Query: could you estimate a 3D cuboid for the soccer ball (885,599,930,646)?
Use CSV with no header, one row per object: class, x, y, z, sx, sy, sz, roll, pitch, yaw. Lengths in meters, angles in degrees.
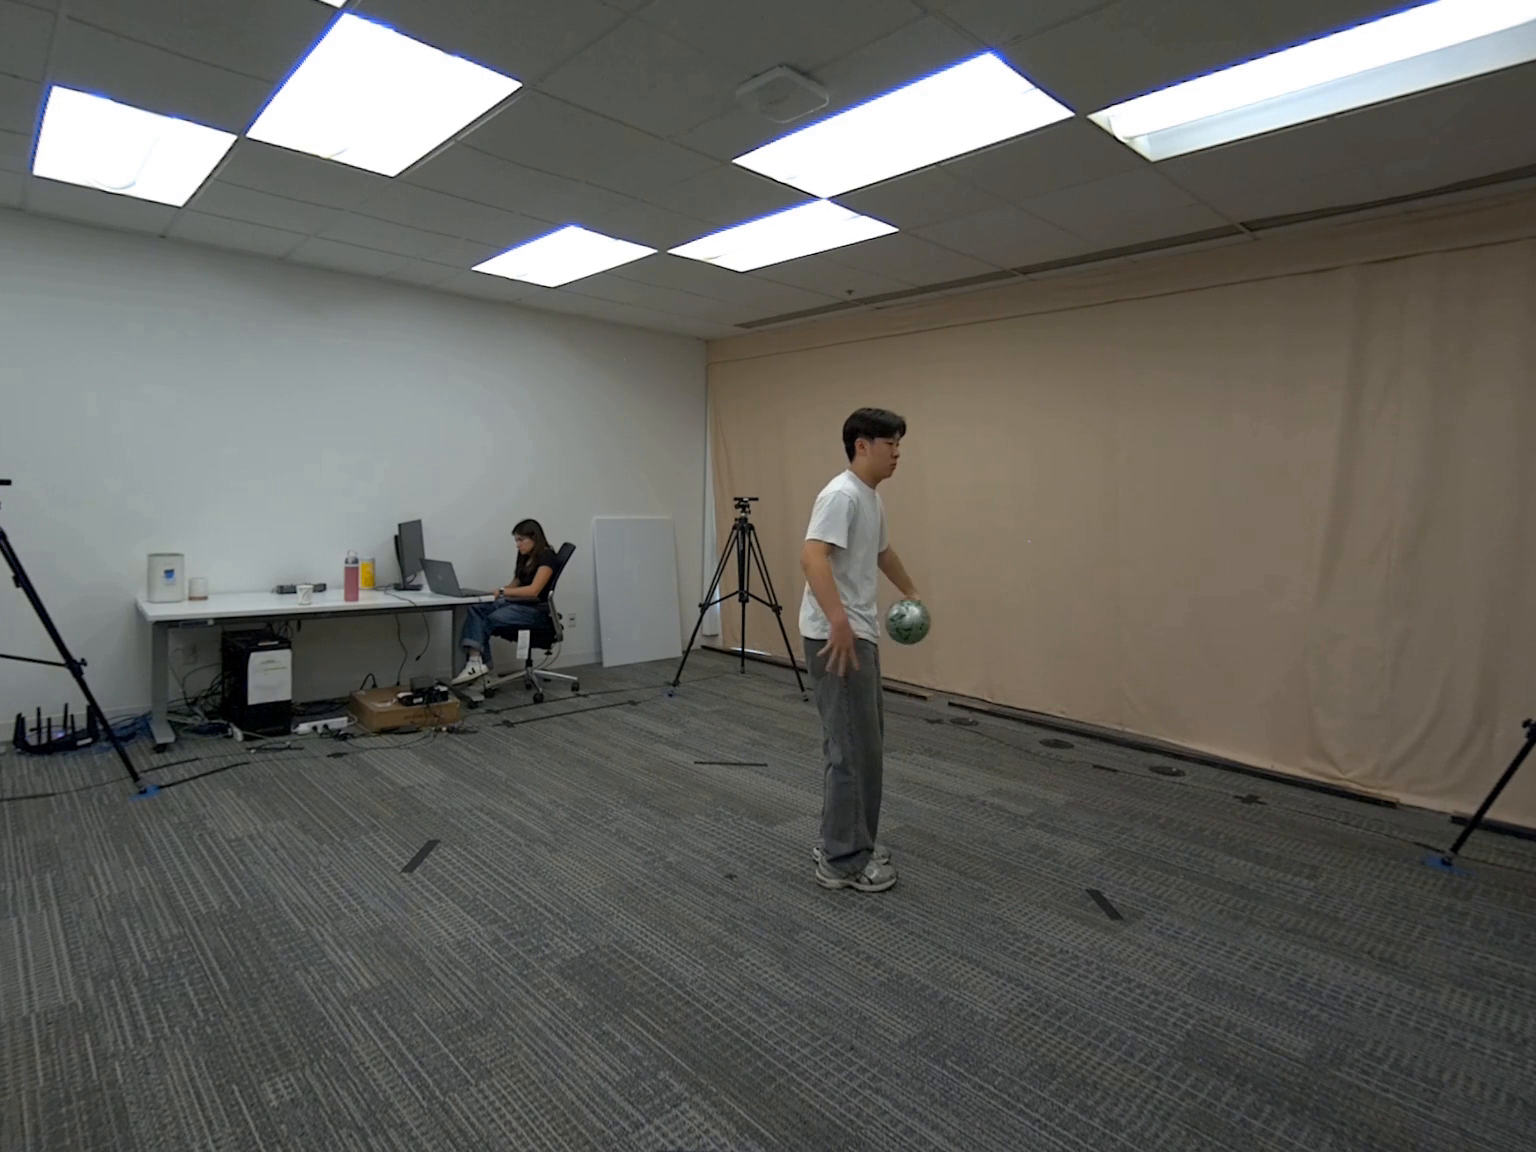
soccer ball,0.536,0.184,3.447,0.187,0.187,0.188,1,4,-1
